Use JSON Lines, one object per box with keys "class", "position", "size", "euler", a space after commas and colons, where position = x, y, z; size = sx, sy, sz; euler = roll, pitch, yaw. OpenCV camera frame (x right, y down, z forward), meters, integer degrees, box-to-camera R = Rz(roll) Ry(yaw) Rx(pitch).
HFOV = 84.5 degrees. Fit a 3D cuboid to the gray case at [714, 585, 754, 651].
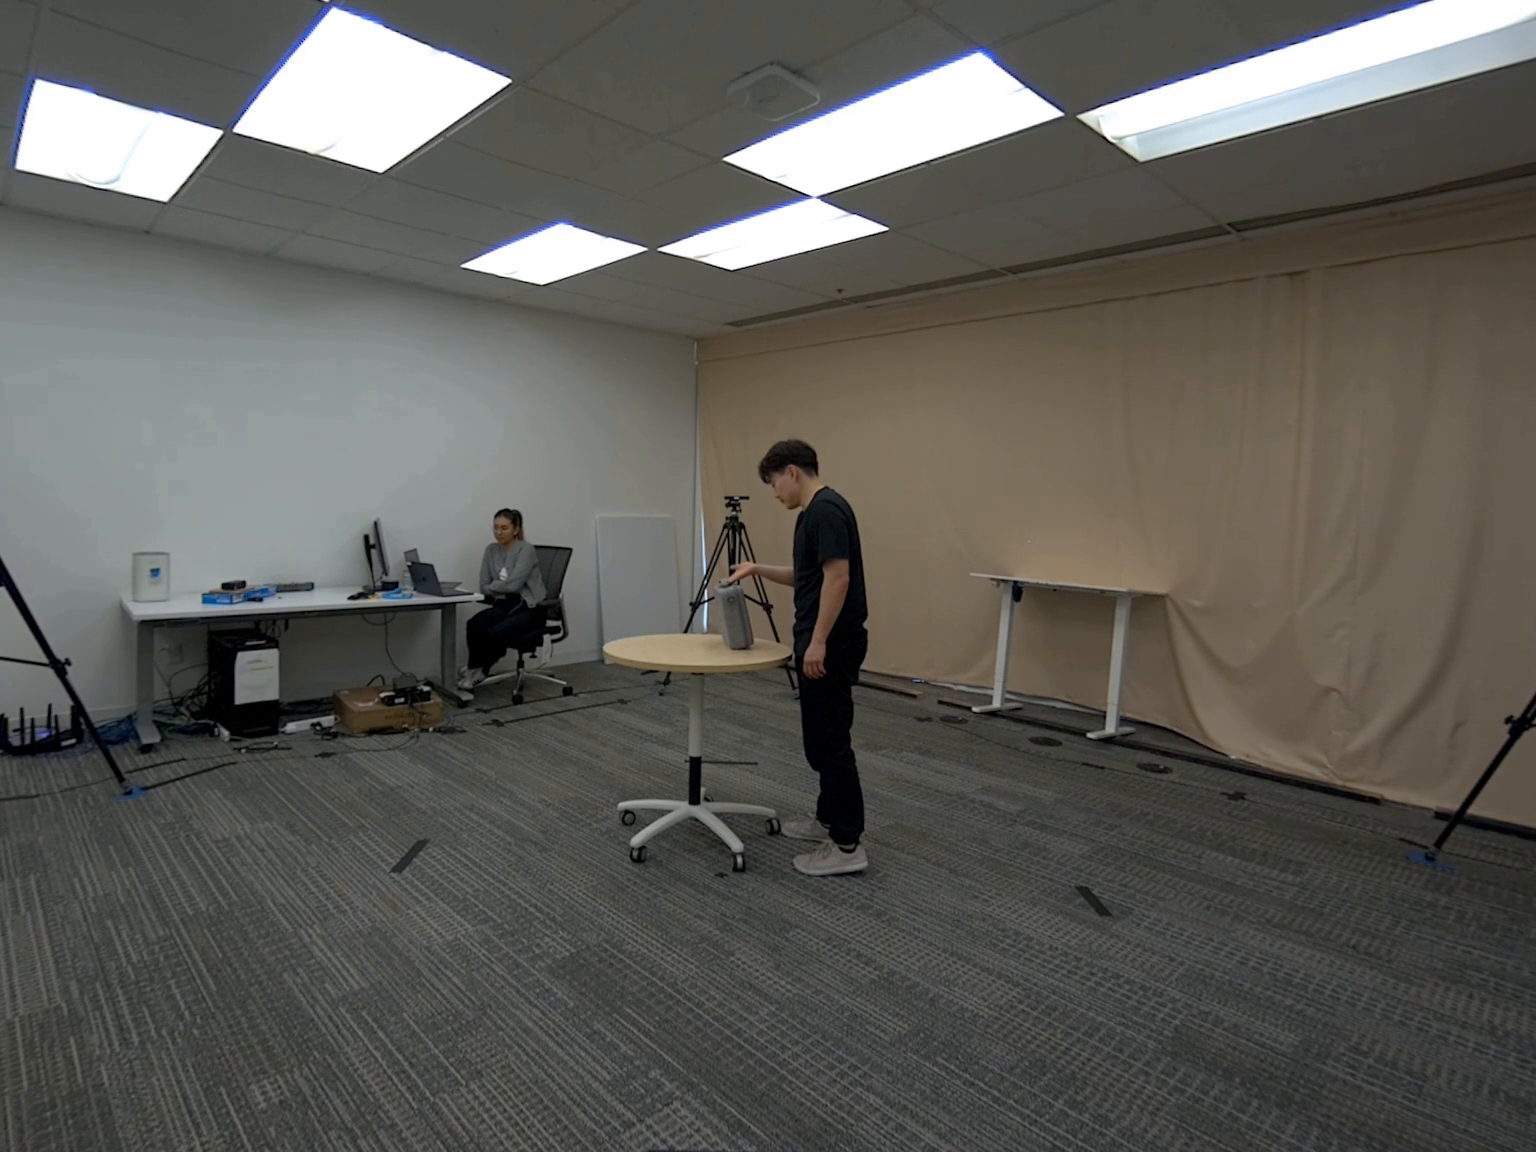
{"class": "gray case", "position": [-0.150, 0.158, 3.493], "size": [0.104, 0.260, 0.259], "euler": [-10, 5, -9]}
